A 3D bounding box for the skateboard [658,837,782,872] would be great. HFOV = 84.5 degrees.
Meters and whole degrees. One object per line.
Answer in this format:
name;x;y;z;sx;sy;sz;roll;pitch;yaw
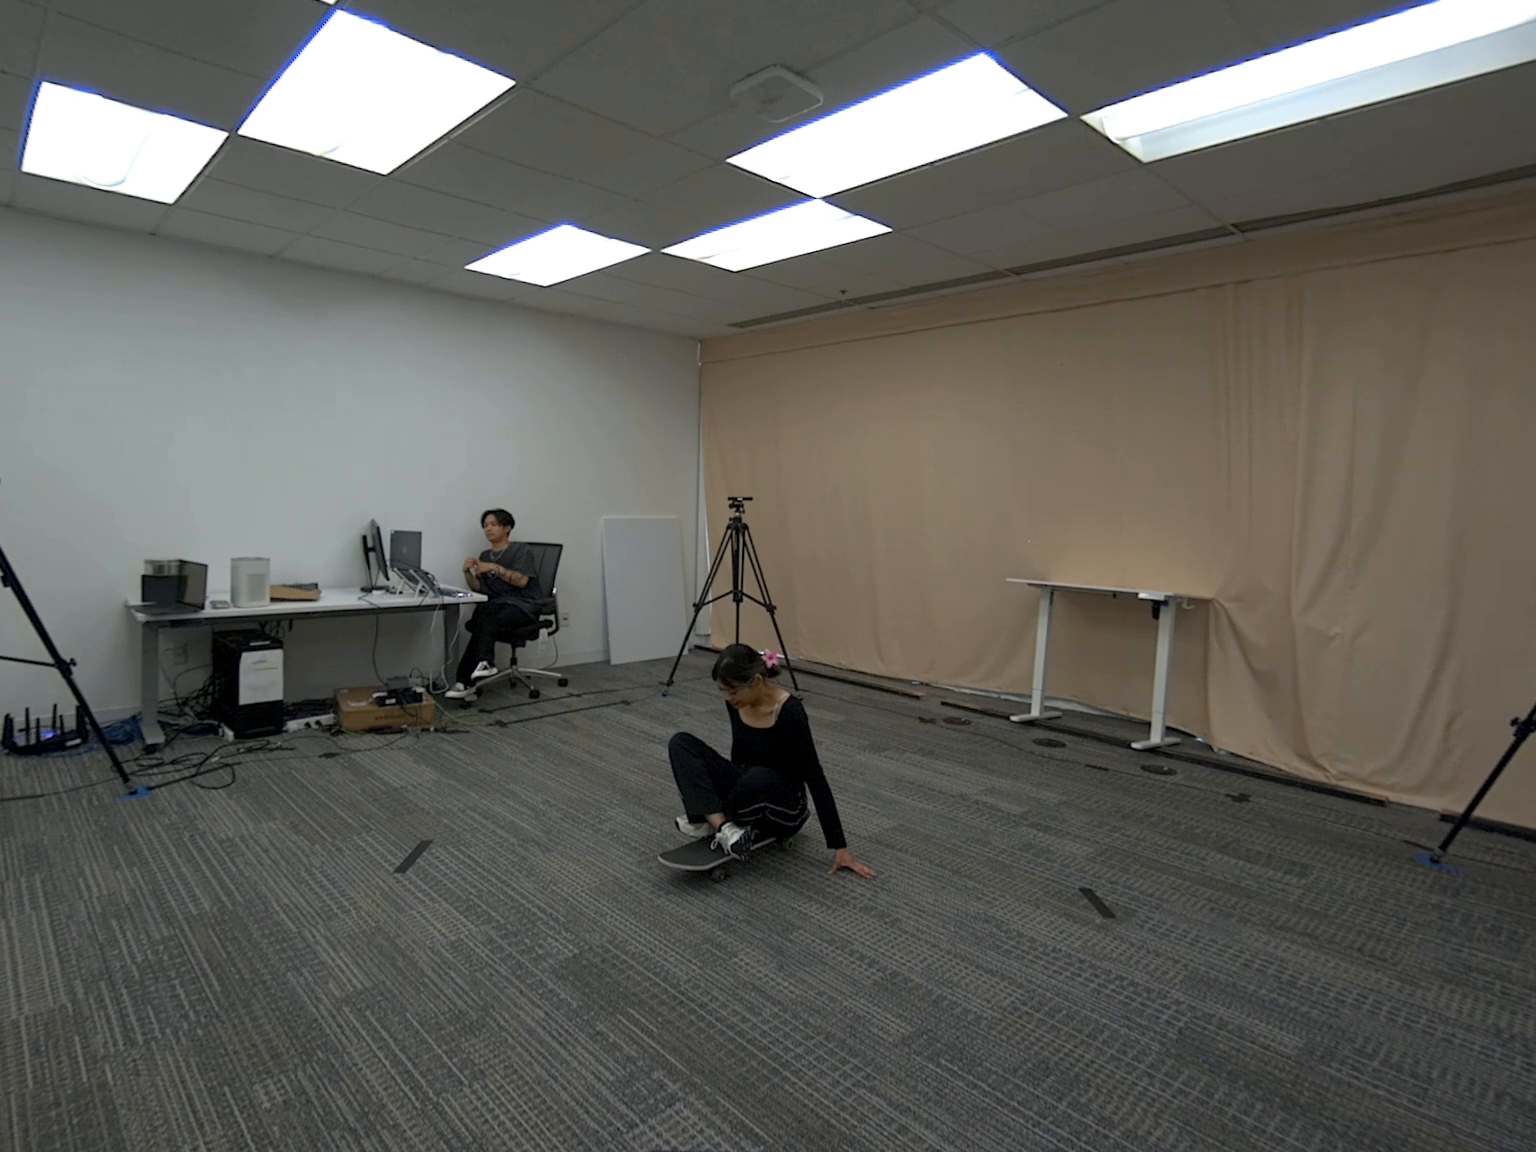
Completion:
skateboard;-0.112;1.041;3.247;0.198;0.110;0.767;3;3;38
